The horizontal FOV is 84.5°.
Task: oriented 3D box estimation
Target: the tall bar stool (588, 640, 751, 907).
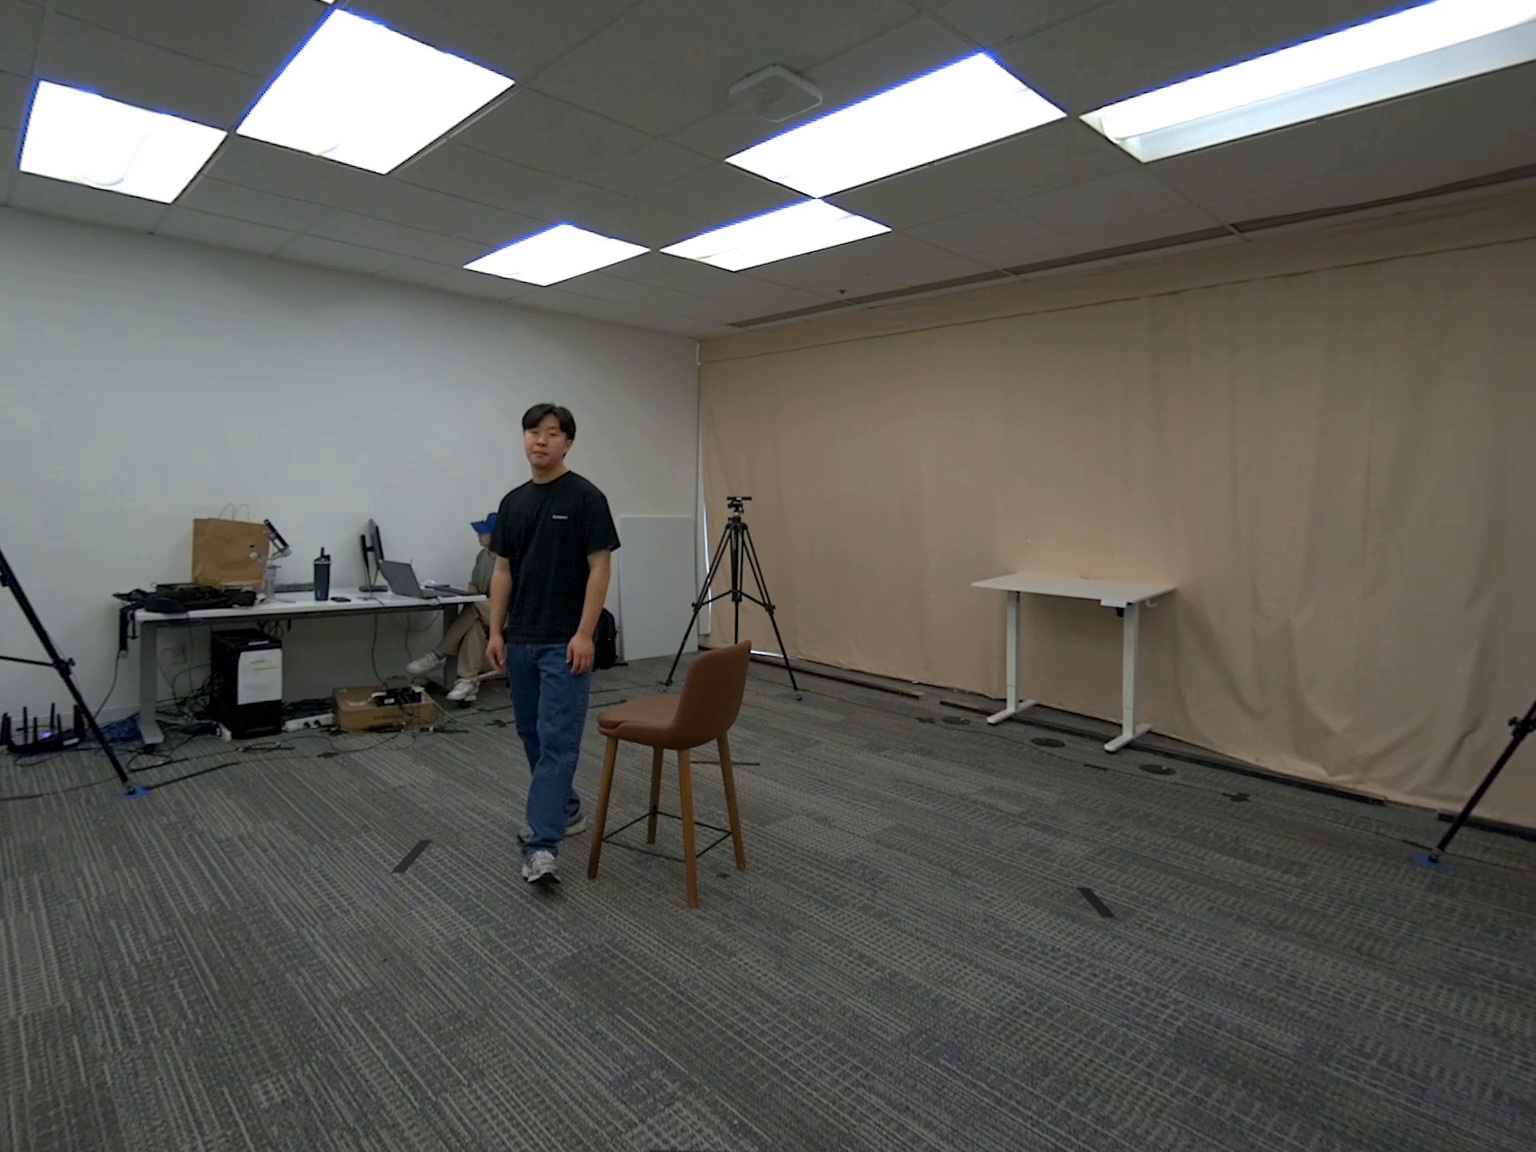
[{"bbox_3d":[-0.356,0.666,3.088,0.478,0.887,0.448,5,5,29],"label":"tall bar stool"}]
